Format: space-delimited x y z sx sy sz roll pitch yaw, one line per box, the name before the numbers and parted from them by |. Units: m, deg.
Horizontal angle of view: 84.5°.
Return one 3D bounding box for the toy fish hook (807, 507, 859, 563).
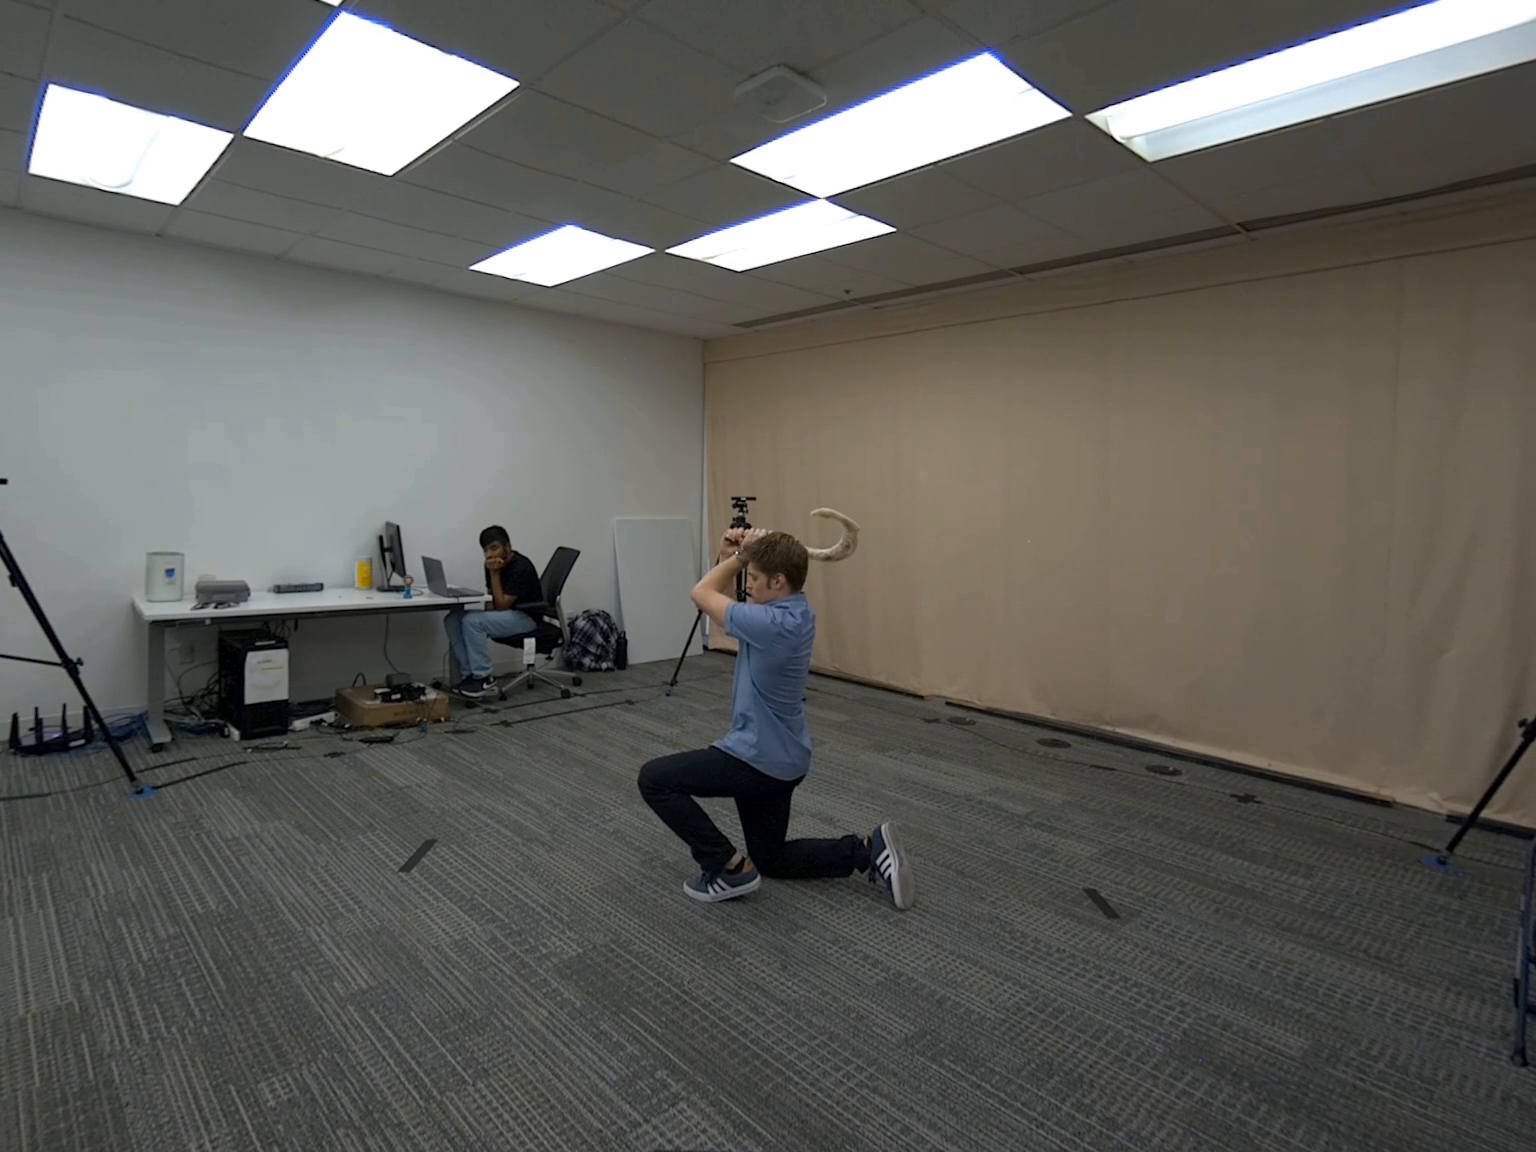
toy fish hook | 0.071 -0.181 3.180 0.506 0.222 0.049 5 16 -2
